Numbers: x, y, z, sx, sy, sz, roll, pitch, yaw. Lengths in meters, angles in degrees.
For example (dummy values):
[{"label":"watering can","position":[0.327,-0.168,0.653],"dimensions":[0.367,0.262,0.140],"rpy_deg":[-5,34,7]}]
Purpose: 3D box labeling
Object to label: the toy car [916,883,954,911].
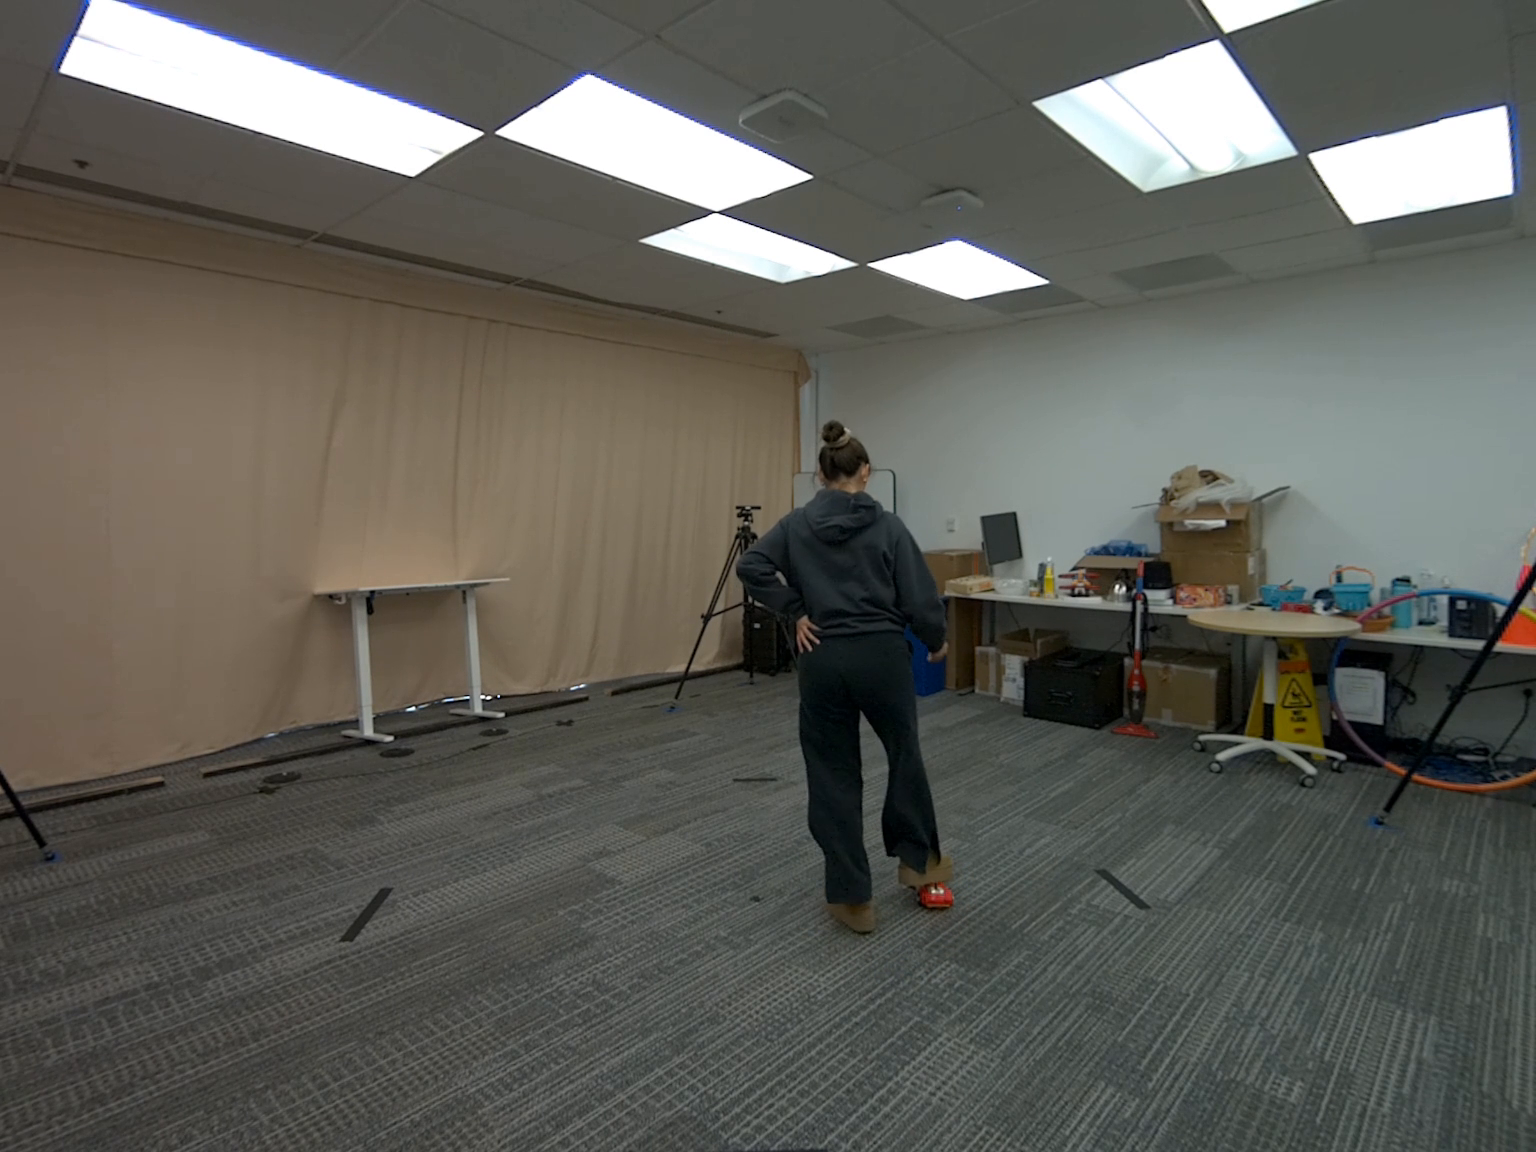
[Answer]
[{"label":"toy car","position":[0.606,1.108,2.969],"dimensions":[0.130,0.083,0.254],"rpy_deg":[0,-6,-3]}]
